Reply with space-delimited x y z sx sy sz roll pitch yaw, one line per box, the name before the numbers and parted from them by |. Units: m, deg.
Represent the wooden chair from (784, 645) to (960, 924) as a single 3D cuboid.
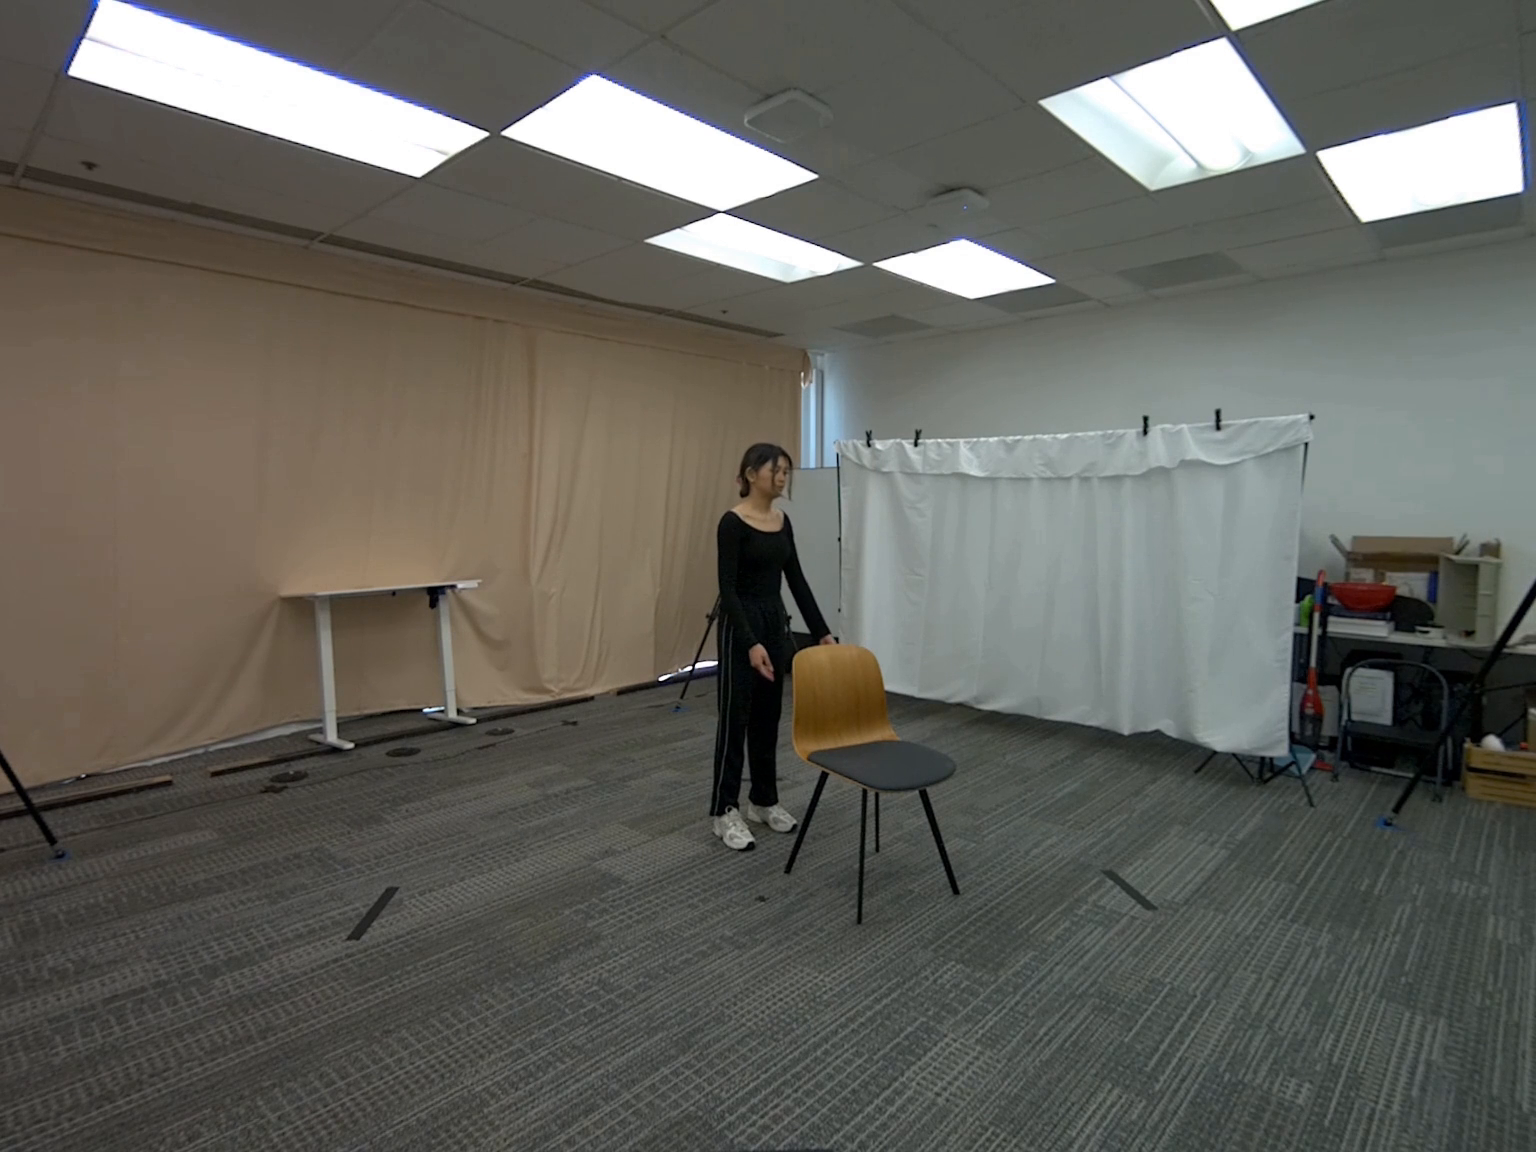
wooden chair | 0.379 0.710 3.062 0.465 0.878 0.537 -2 -1 -30
